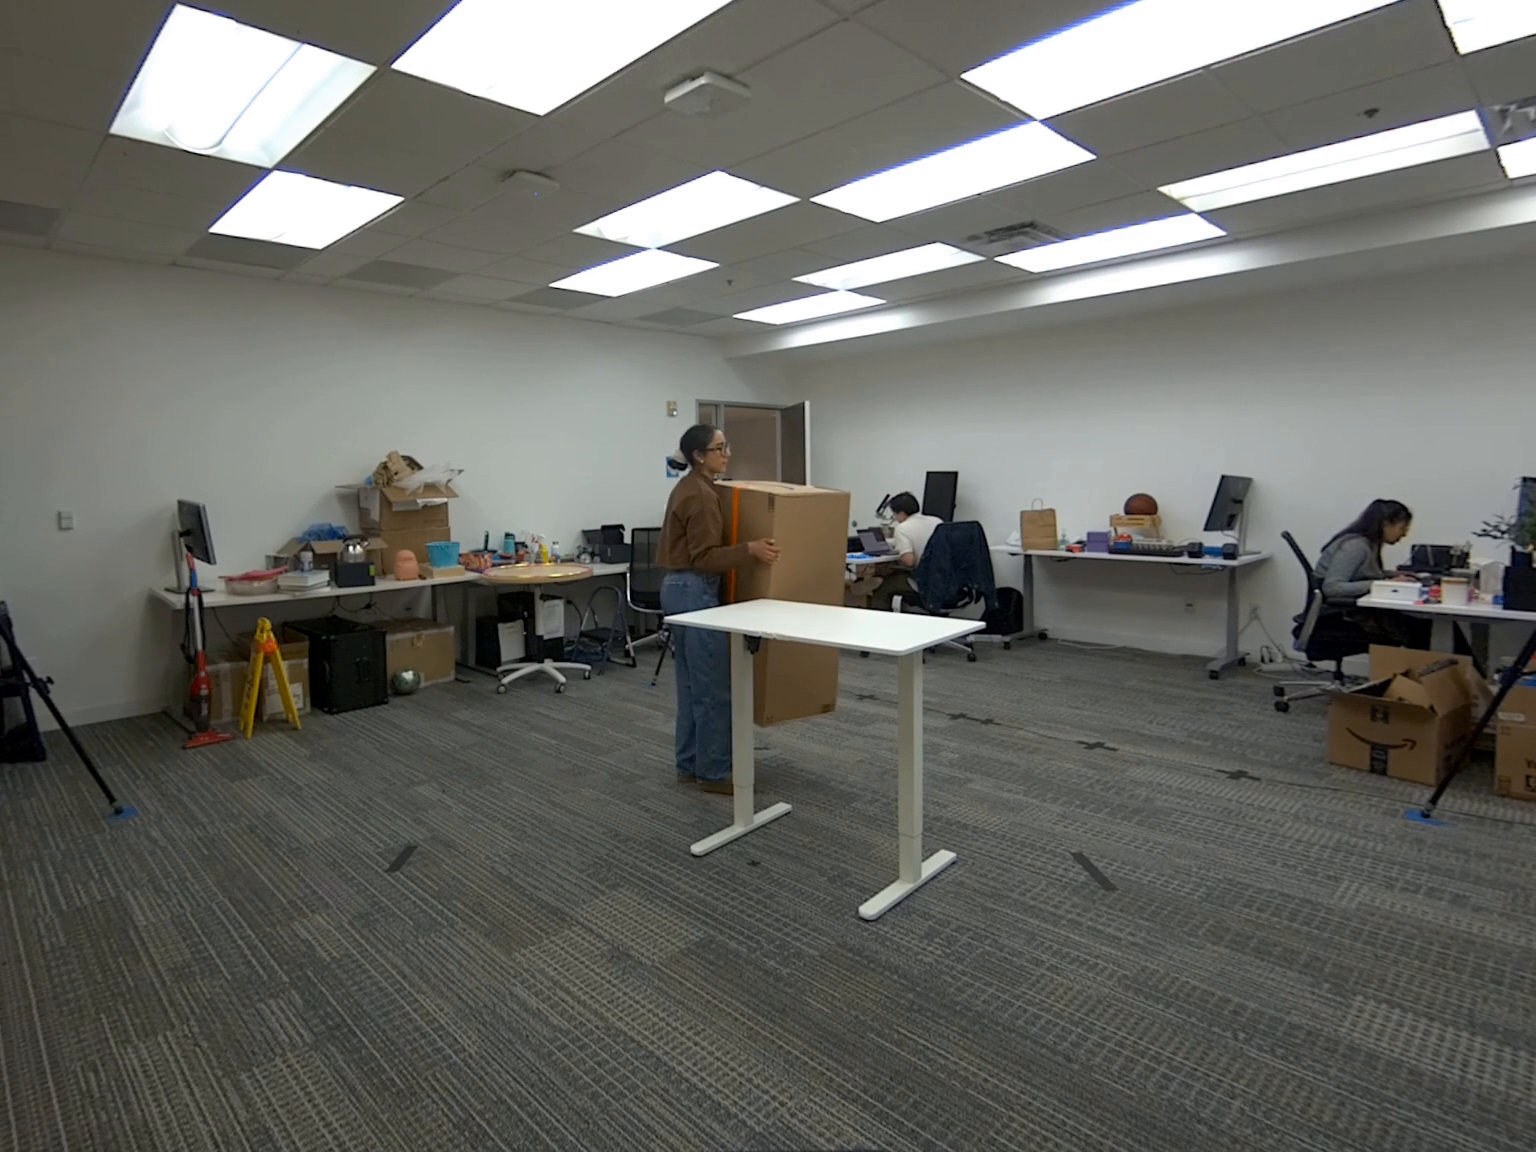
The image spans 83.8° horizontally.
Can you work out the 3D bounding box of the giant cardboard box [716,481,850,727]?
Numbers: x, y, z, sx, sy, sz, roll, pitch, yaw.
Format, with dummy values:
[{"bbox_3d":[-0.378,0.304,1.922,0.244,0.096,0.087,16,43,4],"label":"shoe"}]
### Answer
[{"bbox_3d":[0.004,0.093,3.977,0.415,1.018,0.597,-3,10,-35],"label":"giant cardboard box"}]
